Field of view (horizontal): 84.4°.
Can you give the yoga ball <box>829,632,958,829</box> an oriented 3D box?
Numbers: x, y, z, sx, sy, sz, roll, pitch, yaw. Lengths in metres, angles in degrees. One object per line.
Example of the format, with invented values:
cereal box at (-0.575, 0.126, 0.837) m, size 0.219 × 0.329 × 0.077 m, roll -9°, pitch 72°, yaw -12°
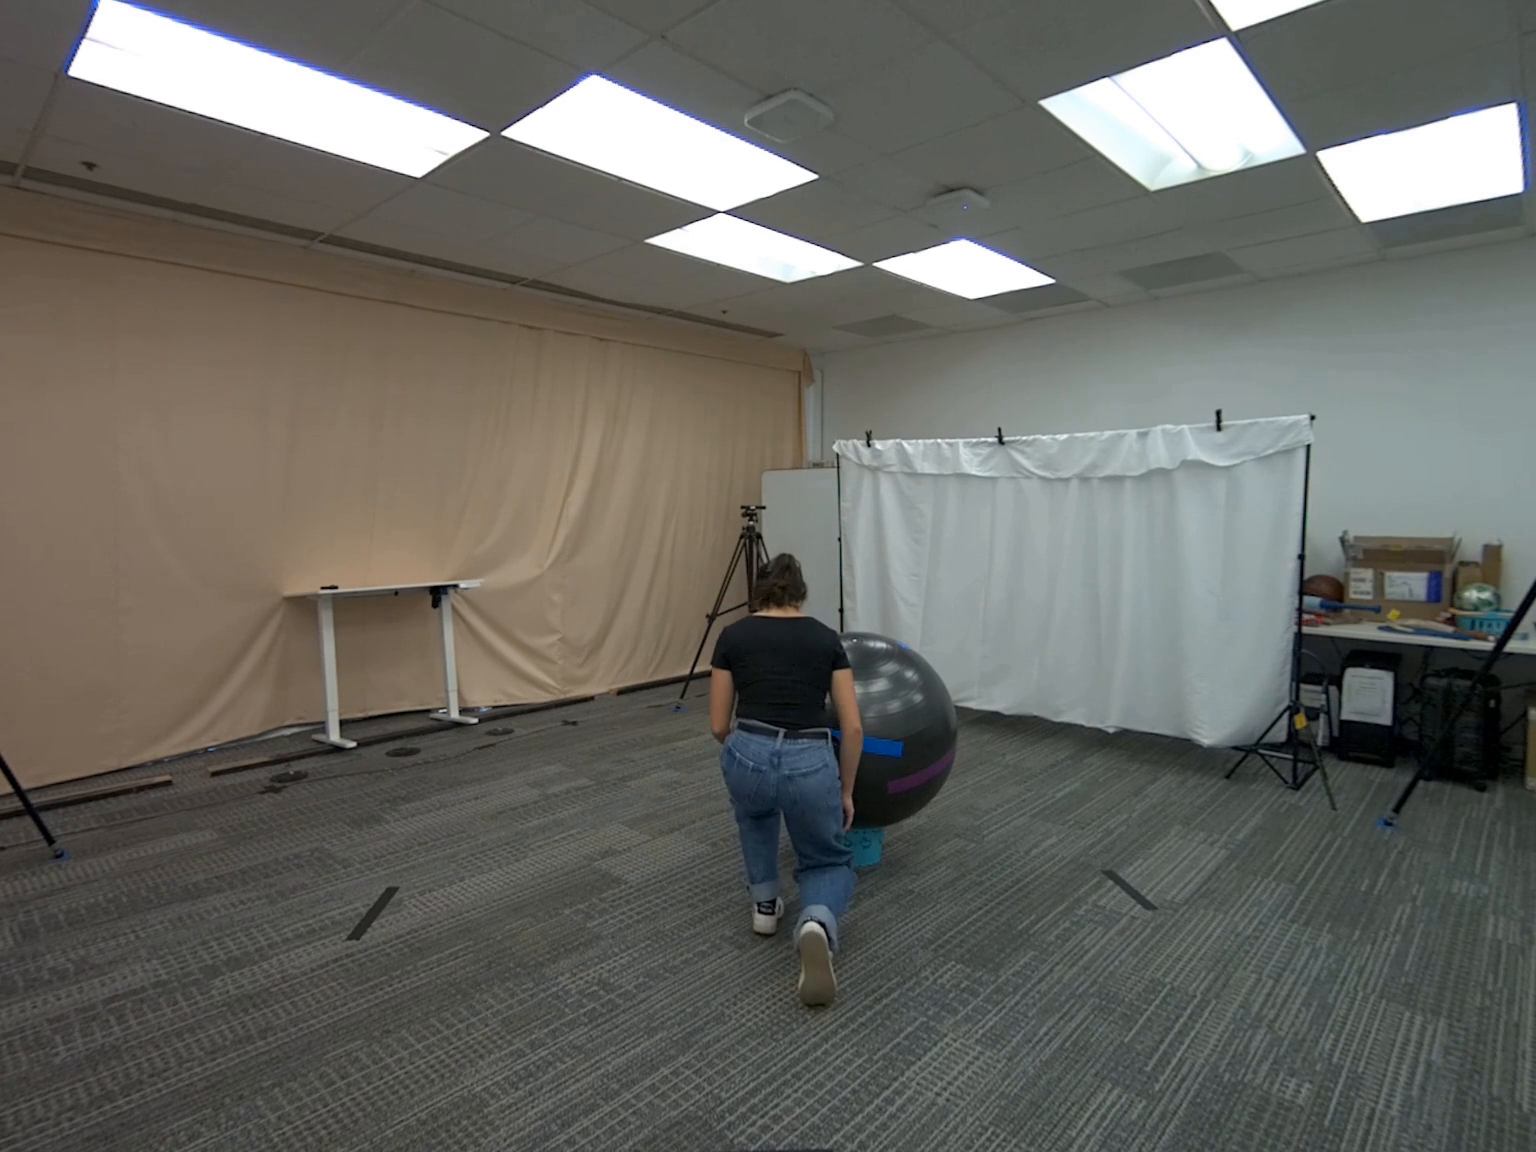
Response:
yoga ball at (0.360, 0.608, 3.317) m, size 0.757 × 0.756 × 0.761 m, roll 0°, pitch 4°, yaw -2°
